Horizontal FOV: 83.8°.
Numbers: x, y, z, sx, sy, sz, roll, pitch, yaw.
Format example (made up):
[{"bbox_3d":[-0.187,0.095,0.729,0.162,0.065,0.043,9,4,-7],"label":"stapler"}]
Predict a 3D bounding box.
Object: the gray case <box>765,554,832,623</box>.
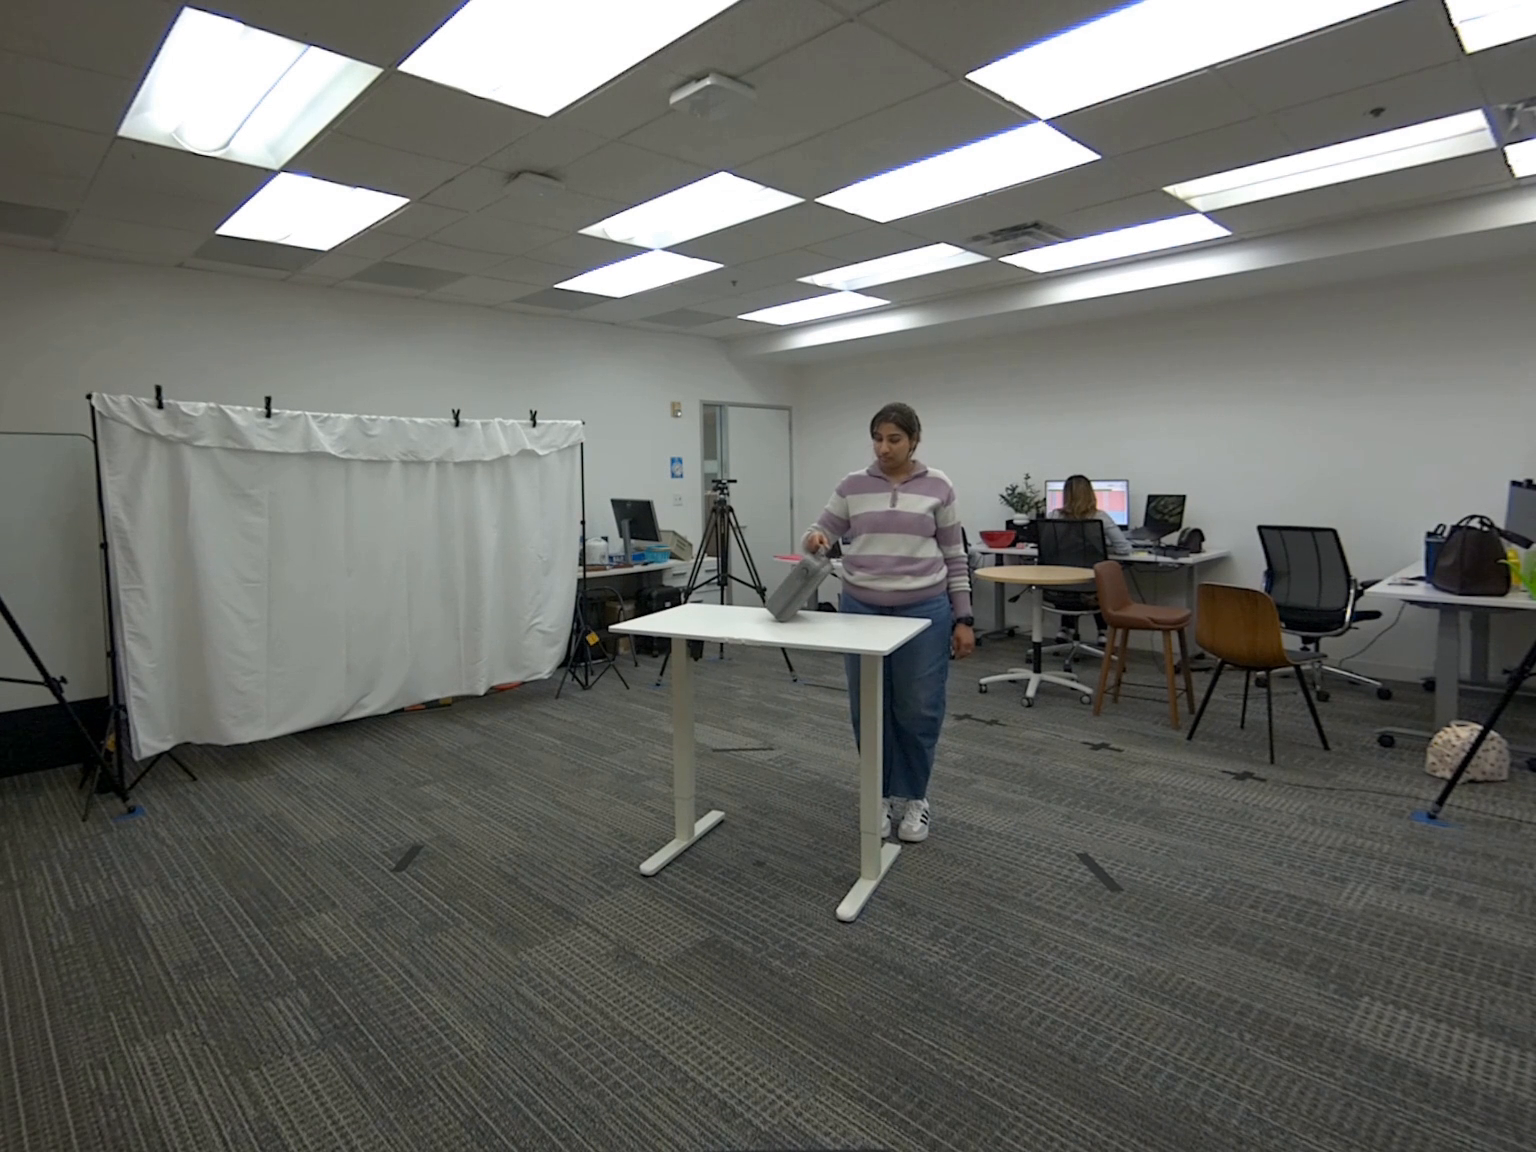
[{"bbox_3d":[0.115,0.033,3.136,0.106,0.260,0.254,36,11,8],"label":"gray case"}]
